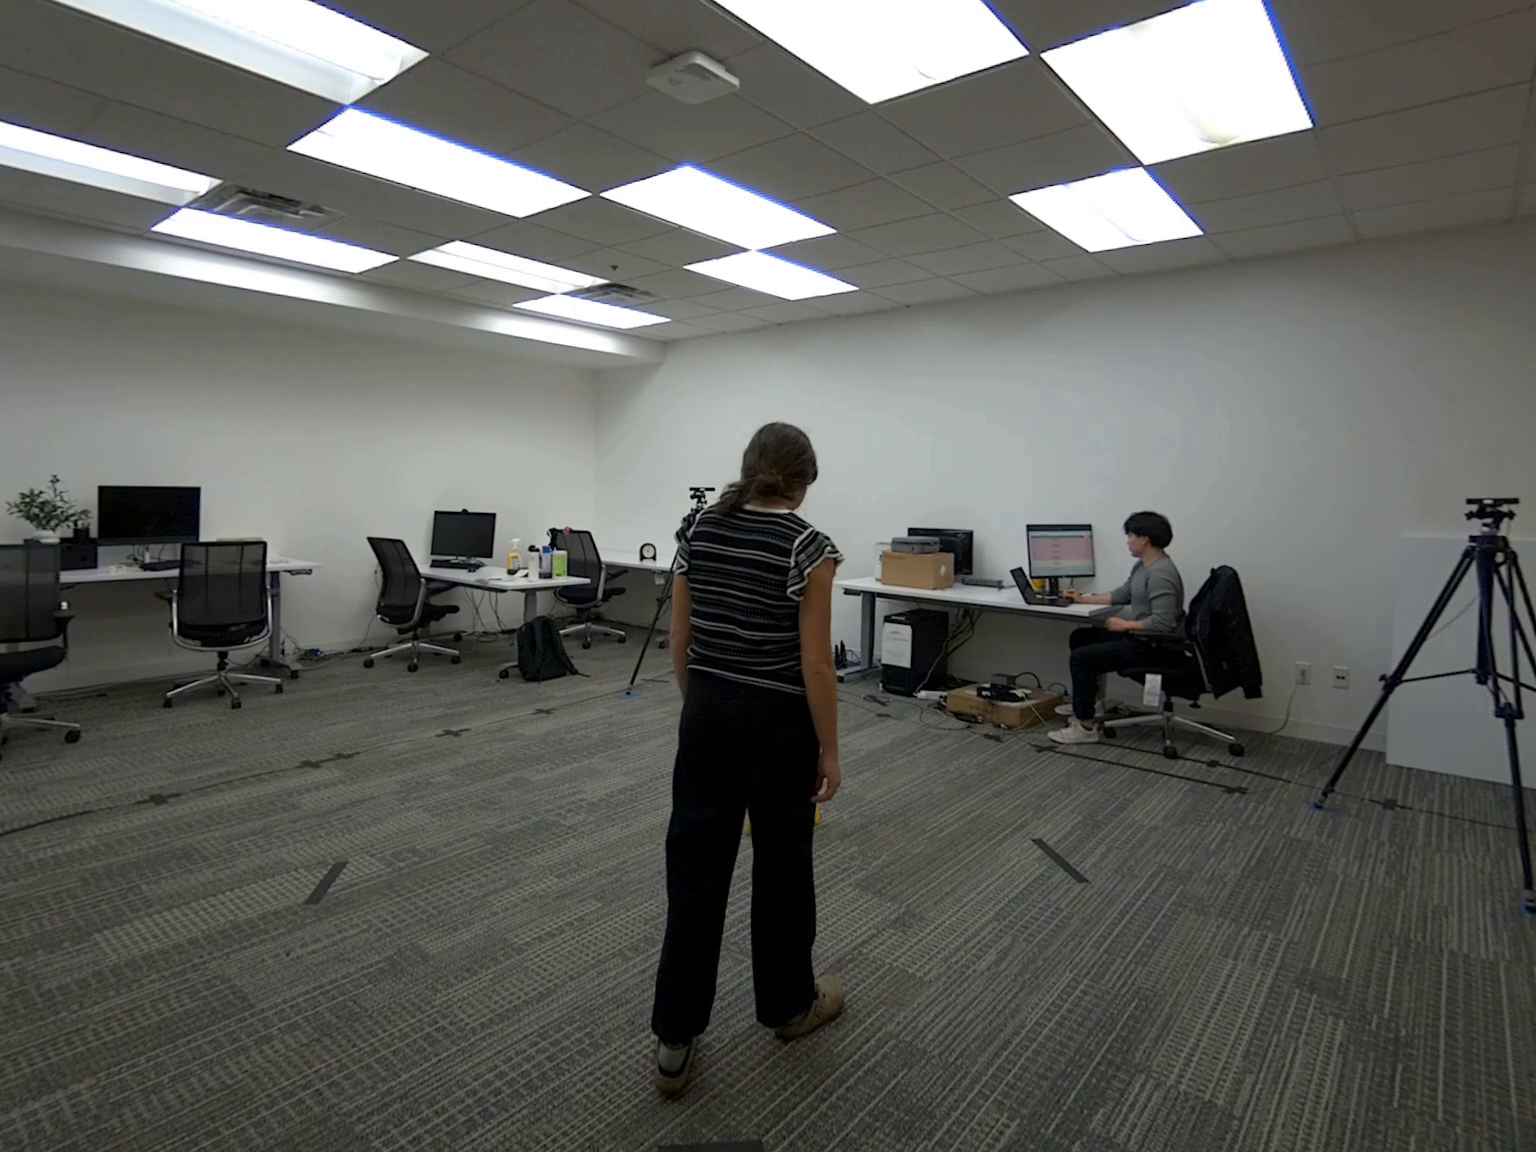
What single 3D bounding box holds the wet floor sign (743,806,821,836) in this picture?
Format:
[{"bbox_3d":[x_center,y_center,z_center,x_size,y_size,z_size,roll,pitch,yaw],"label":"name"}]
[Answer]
[{"bbox_3d":[0.070,0.704,3.501,0.294,0.644,0.279,4,4,13],"label":"wet floor sign"}]
